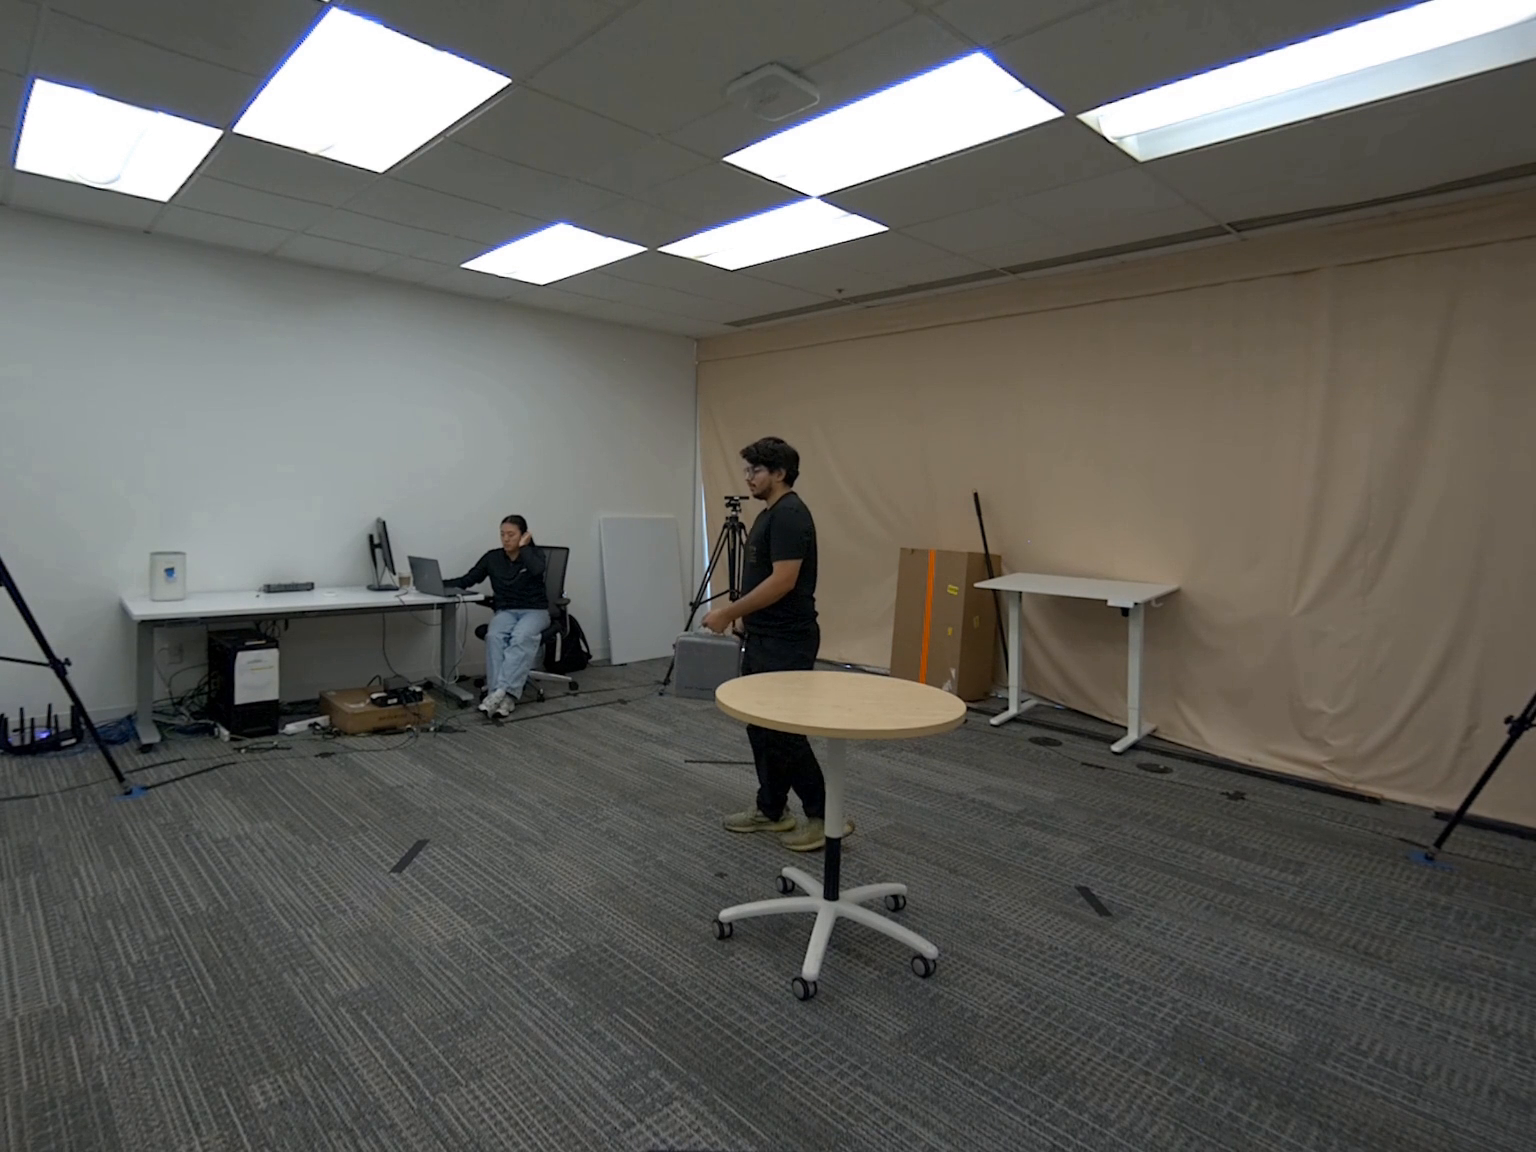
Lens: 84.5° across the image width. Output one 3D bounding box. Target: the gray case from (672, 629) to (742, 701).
[{"bbox_3d":[-0.244,0.349,3.285,0.258,0.258,0.105,6,11,4],"label":"gray case"}]
